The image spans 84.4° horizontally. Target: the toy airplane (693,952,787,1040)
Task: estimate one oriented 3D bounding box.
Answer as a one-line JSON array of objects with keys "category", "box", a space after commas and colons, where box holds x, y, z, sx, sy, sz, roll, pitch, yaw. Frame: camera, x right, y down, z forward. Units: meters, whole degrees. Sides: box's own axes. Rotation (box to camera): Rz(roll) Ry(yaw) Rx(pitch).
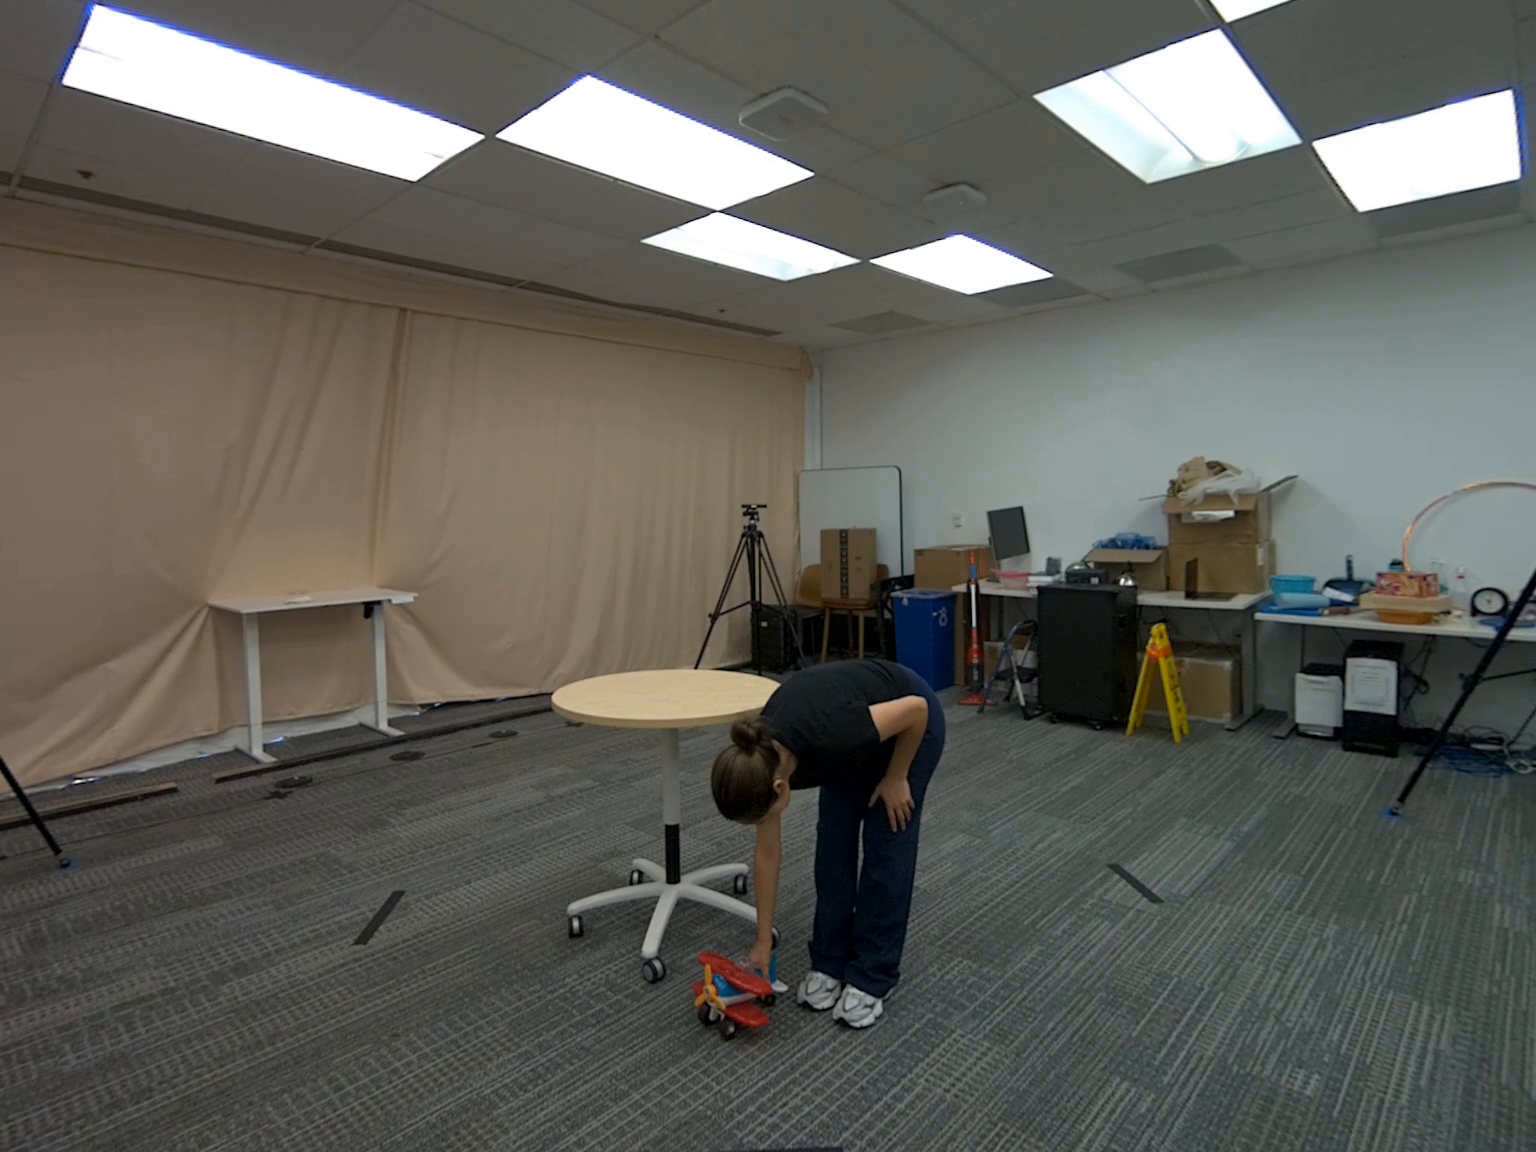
[{"category": "toy airplane", "box": [-0.063, 1.134, 2.291, 0.256, 0.156, 0.255, 0, 7, 19]}]
